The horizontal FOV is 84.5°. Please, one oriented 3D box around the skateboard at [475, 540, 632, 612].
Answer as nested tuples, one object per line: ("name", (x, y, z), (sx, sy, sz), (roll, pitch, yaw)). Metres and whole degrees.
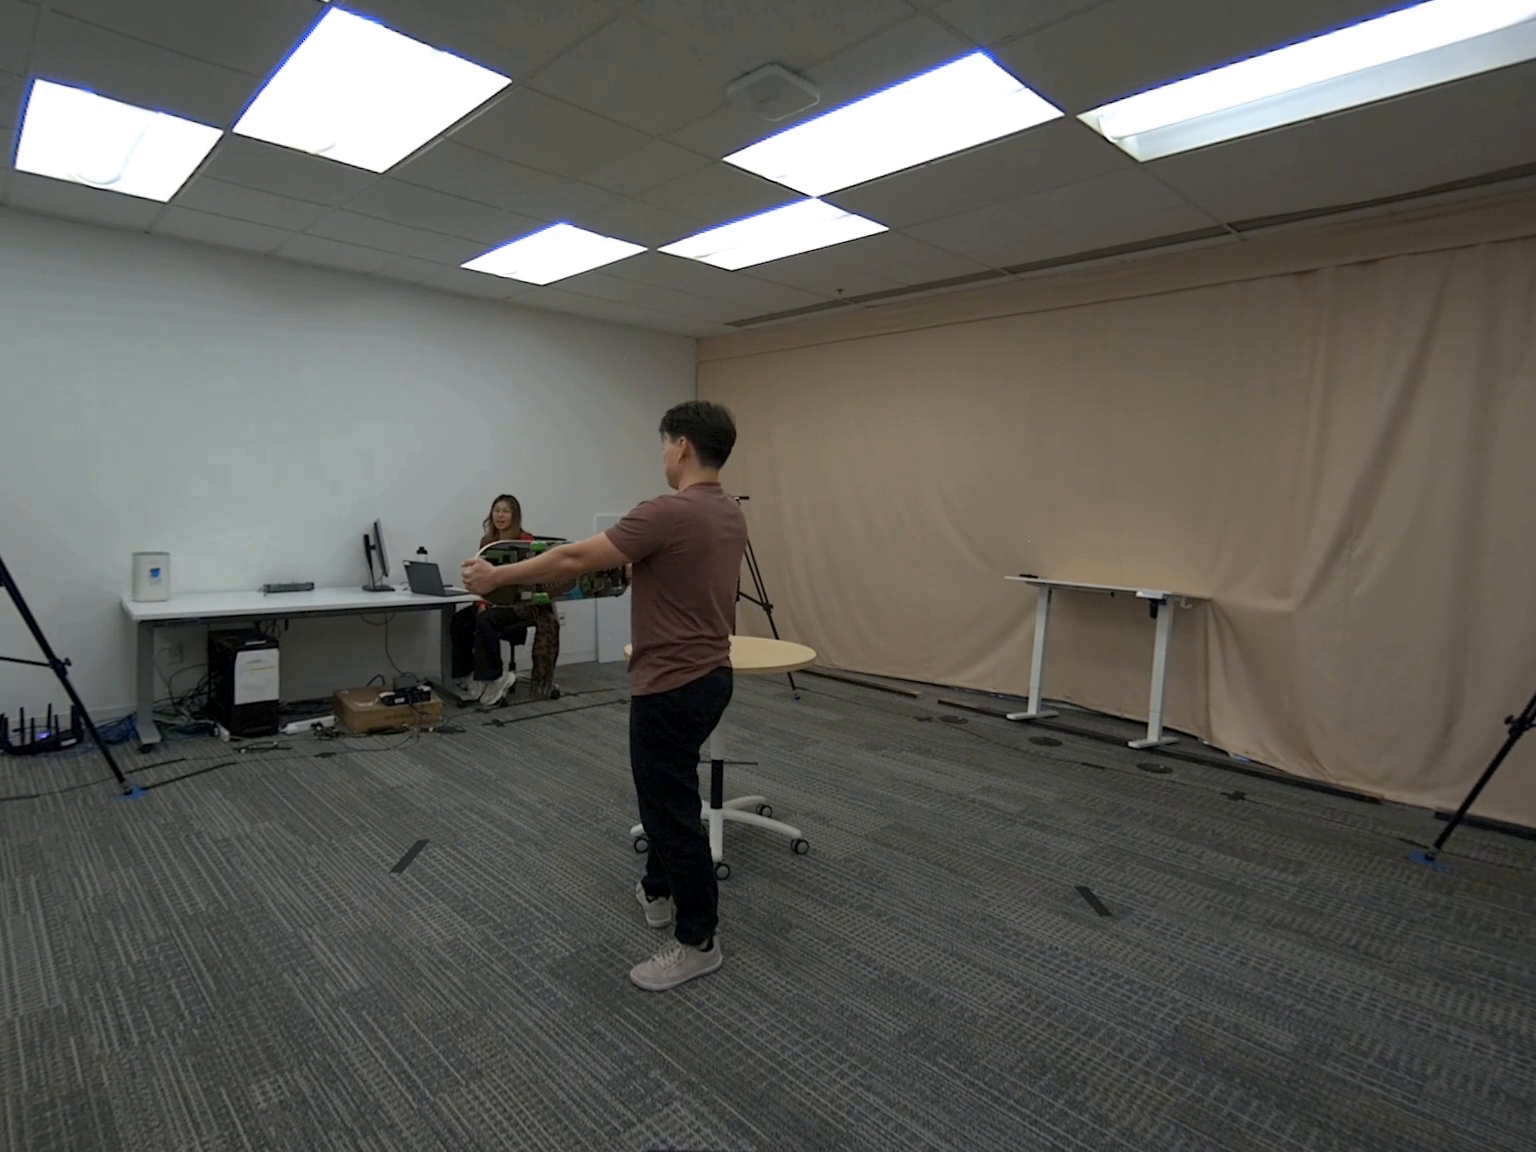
("skateboard", (-0.620, -0.016, 2.731), (0.112, 0.193, 0.771), (-1, 2, 25))
